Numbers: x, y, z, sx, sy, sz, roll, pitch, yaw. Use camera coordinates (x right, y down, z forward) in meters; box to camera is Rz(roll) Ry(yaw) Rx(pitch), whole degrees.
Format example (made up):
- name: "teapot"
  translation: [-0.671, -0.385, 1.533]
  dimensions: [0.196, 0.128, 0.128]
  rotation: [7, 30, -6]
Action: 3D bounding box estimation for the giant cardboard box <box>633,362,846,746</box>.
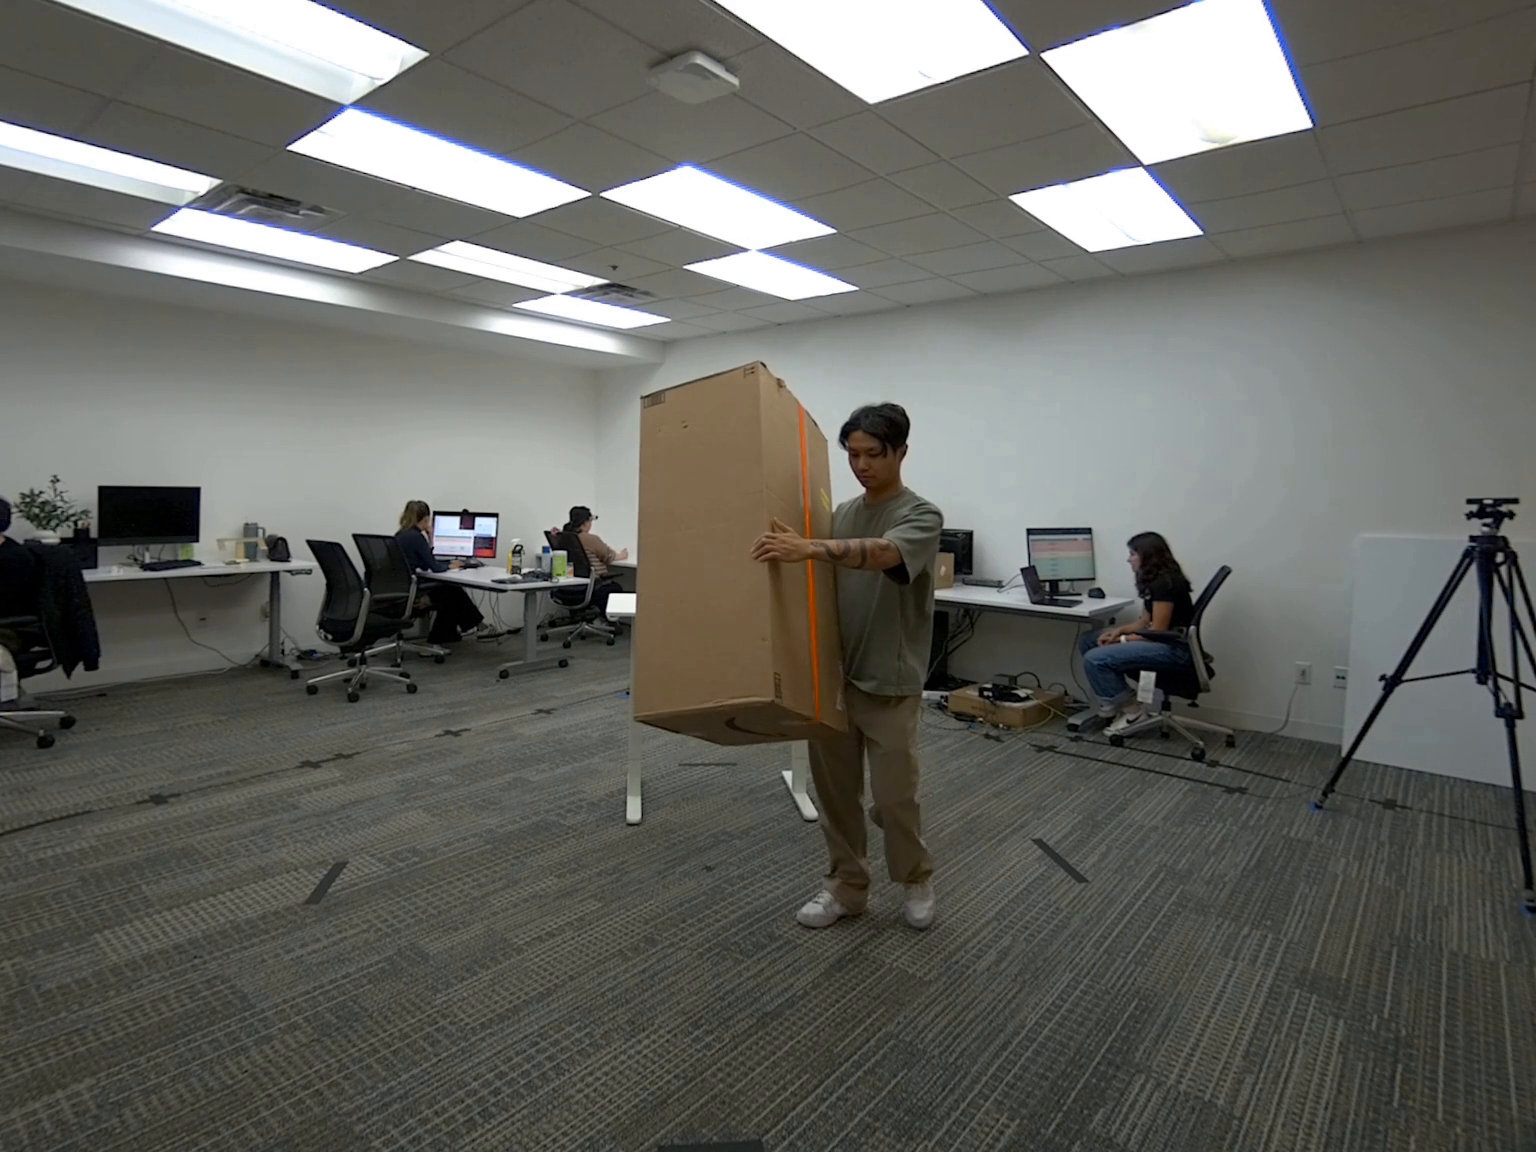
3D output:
- name: "giant cardboard box"
  translation: [-0.085, -0.042, 2.635]
  dimensions: [0.434, 1.047, 0.555]
  rotation: [-12, -24, 23]
